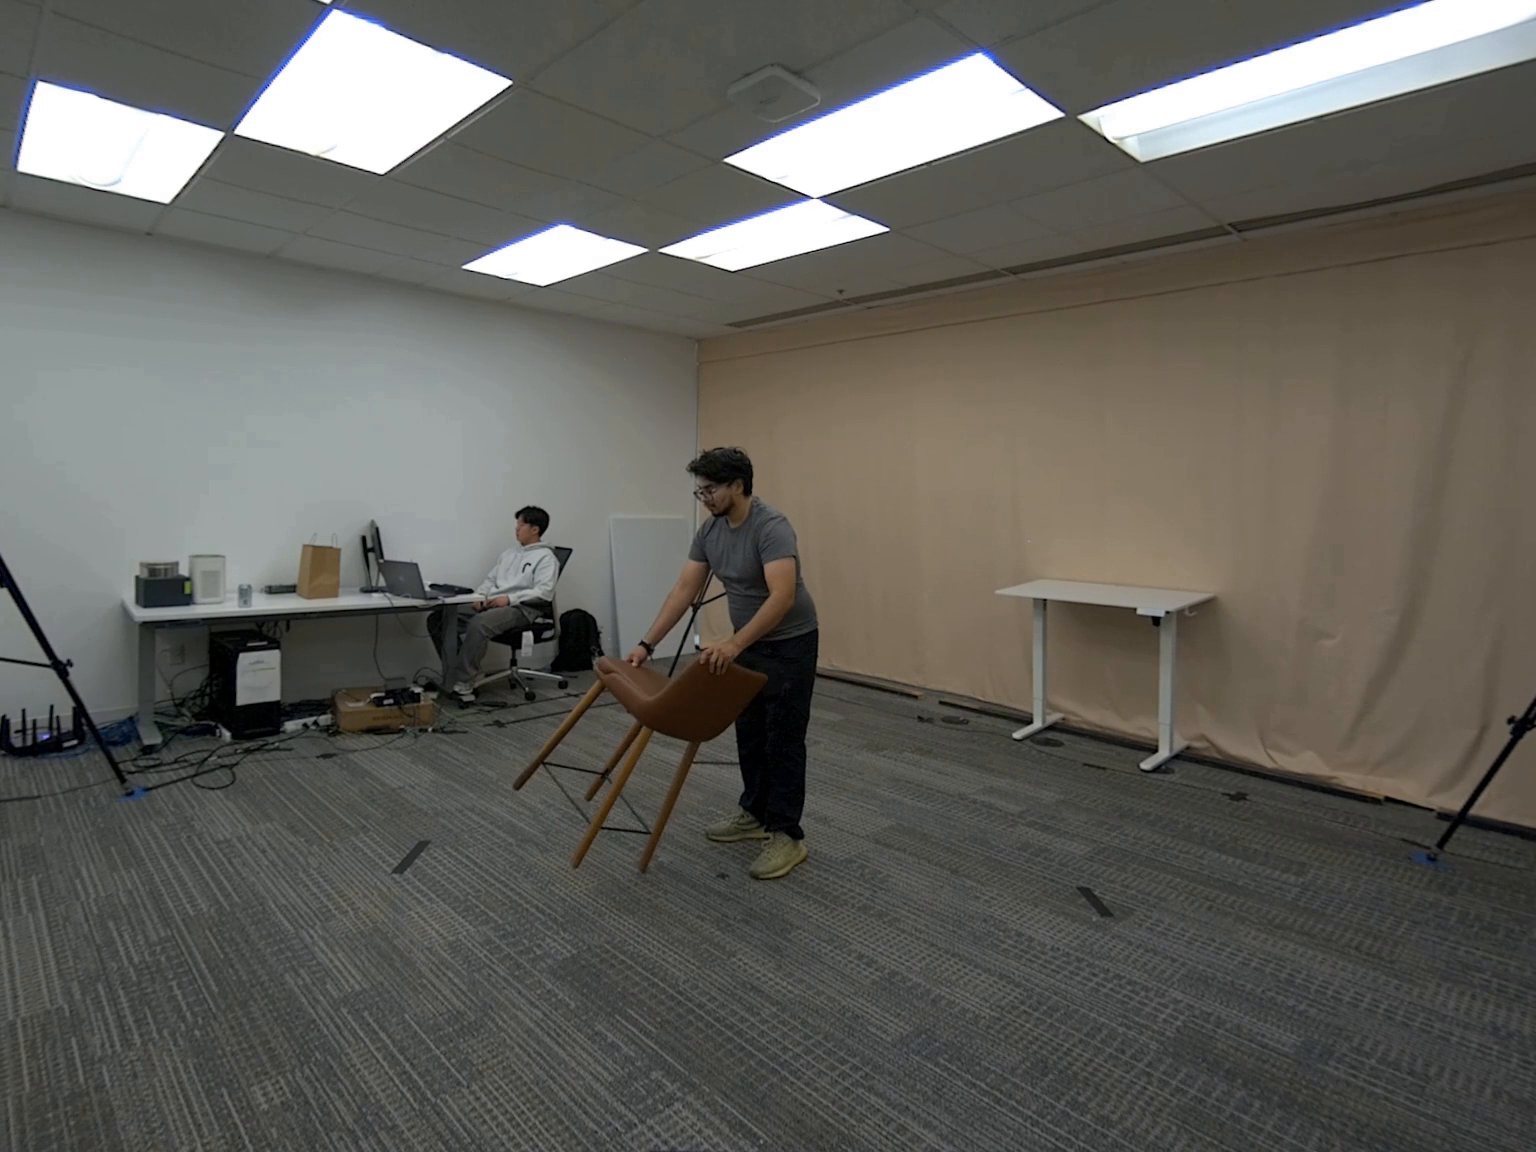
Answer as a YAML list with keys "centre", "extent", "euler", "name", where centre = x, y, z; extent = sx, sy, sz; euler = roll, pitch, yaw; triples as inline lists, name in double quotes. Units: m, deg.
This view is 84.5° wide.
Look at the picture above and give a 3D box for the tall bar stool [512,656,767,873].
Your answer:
- centre: [-0.470, 0.587, 3.105]
  extent: [0.483, 0.889, 0.442]
  euler: [36, 4, 40]
  name: "tall bar stool"
